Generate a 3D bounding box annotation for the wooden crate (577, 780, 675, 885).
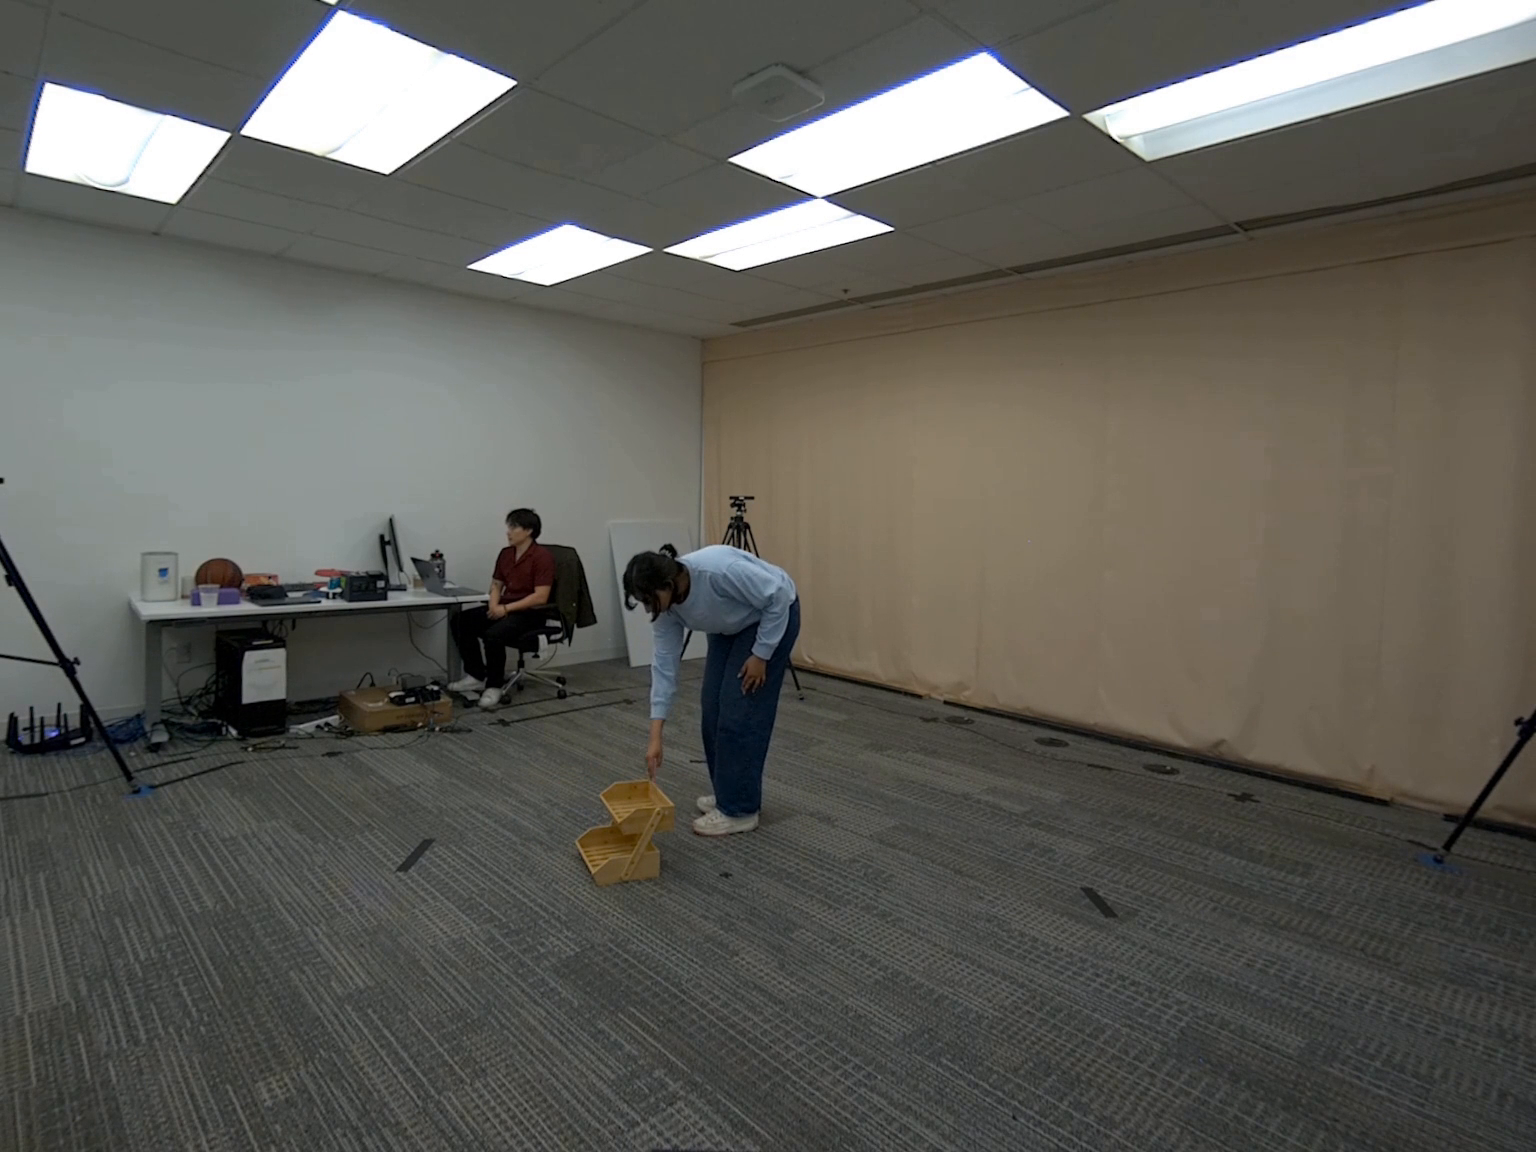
[{"bbox_3d":[-0.558,0.954,3.176,0.297,0.272,0.331,0,4,-25],"label":"wooden crate"}]
